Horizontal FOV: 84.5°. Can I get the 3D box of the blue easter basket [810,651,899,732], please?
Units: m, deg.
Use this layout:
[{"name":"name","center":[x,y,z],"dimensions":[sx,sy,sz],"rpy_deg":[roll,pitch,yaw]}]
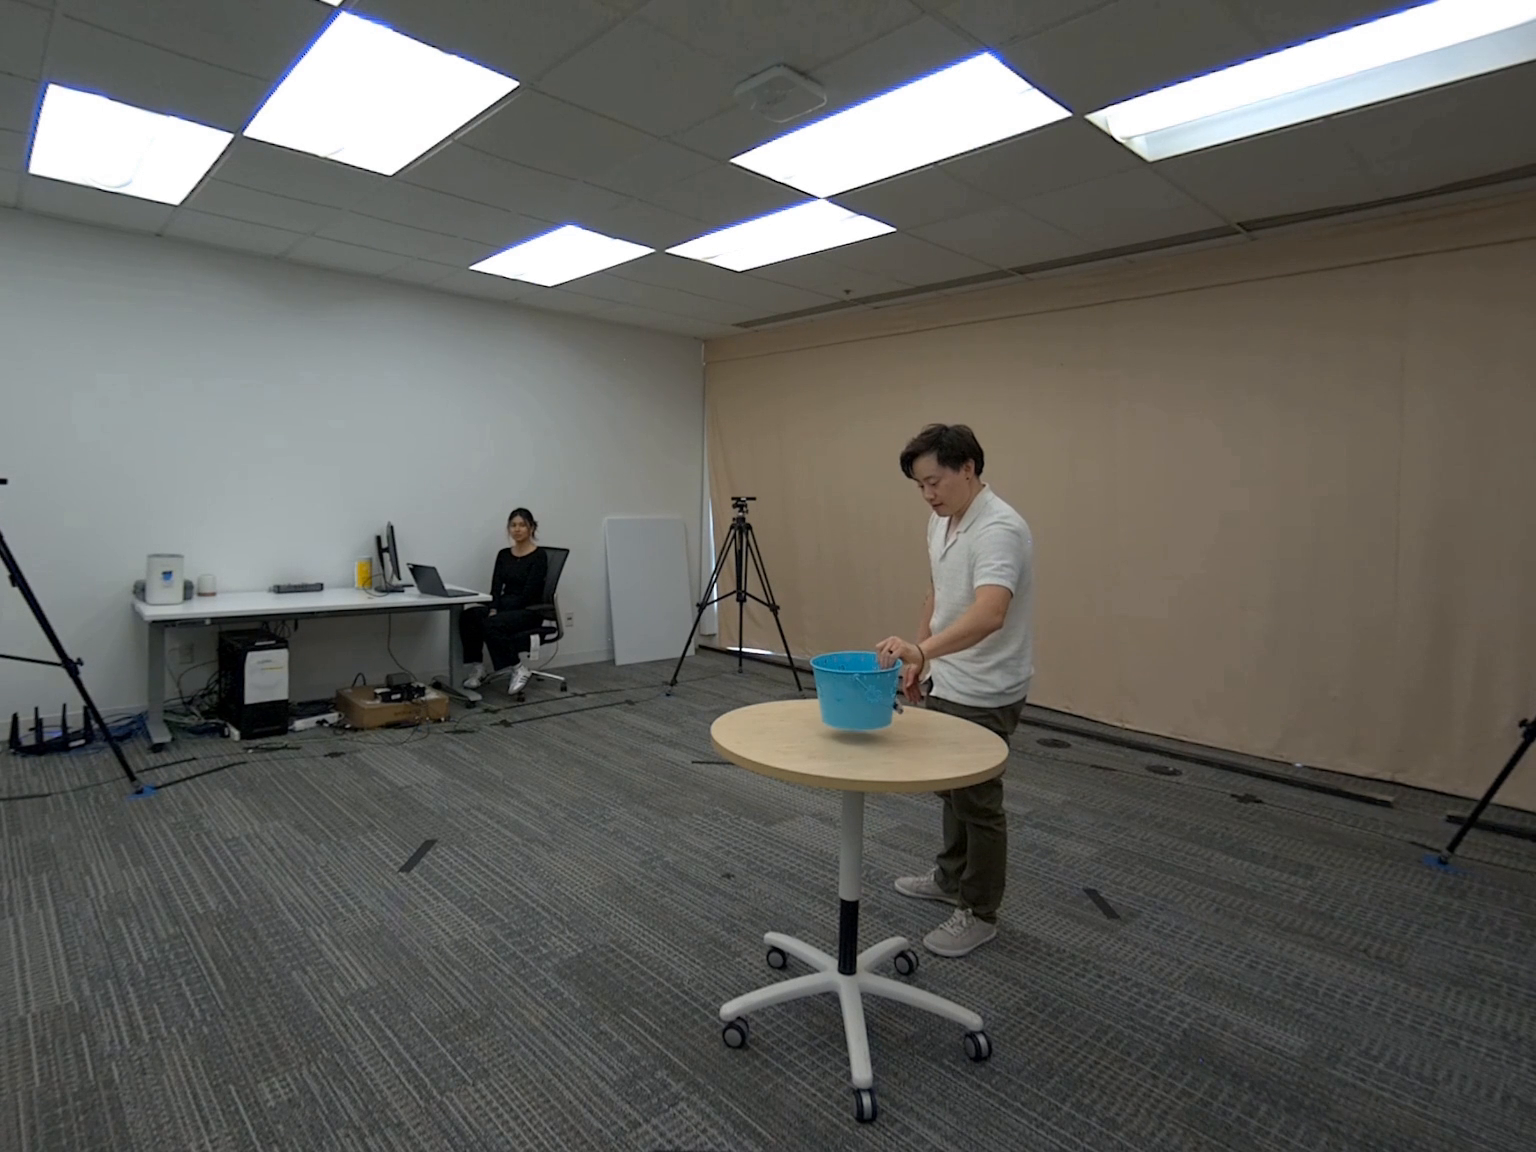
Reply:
[{"name":"blue easter basket","center":[0.234,0.301,2.149],"dimensions":[0.243,0.155,0.245],"rpy_deg":[-1,7,-1]}]
